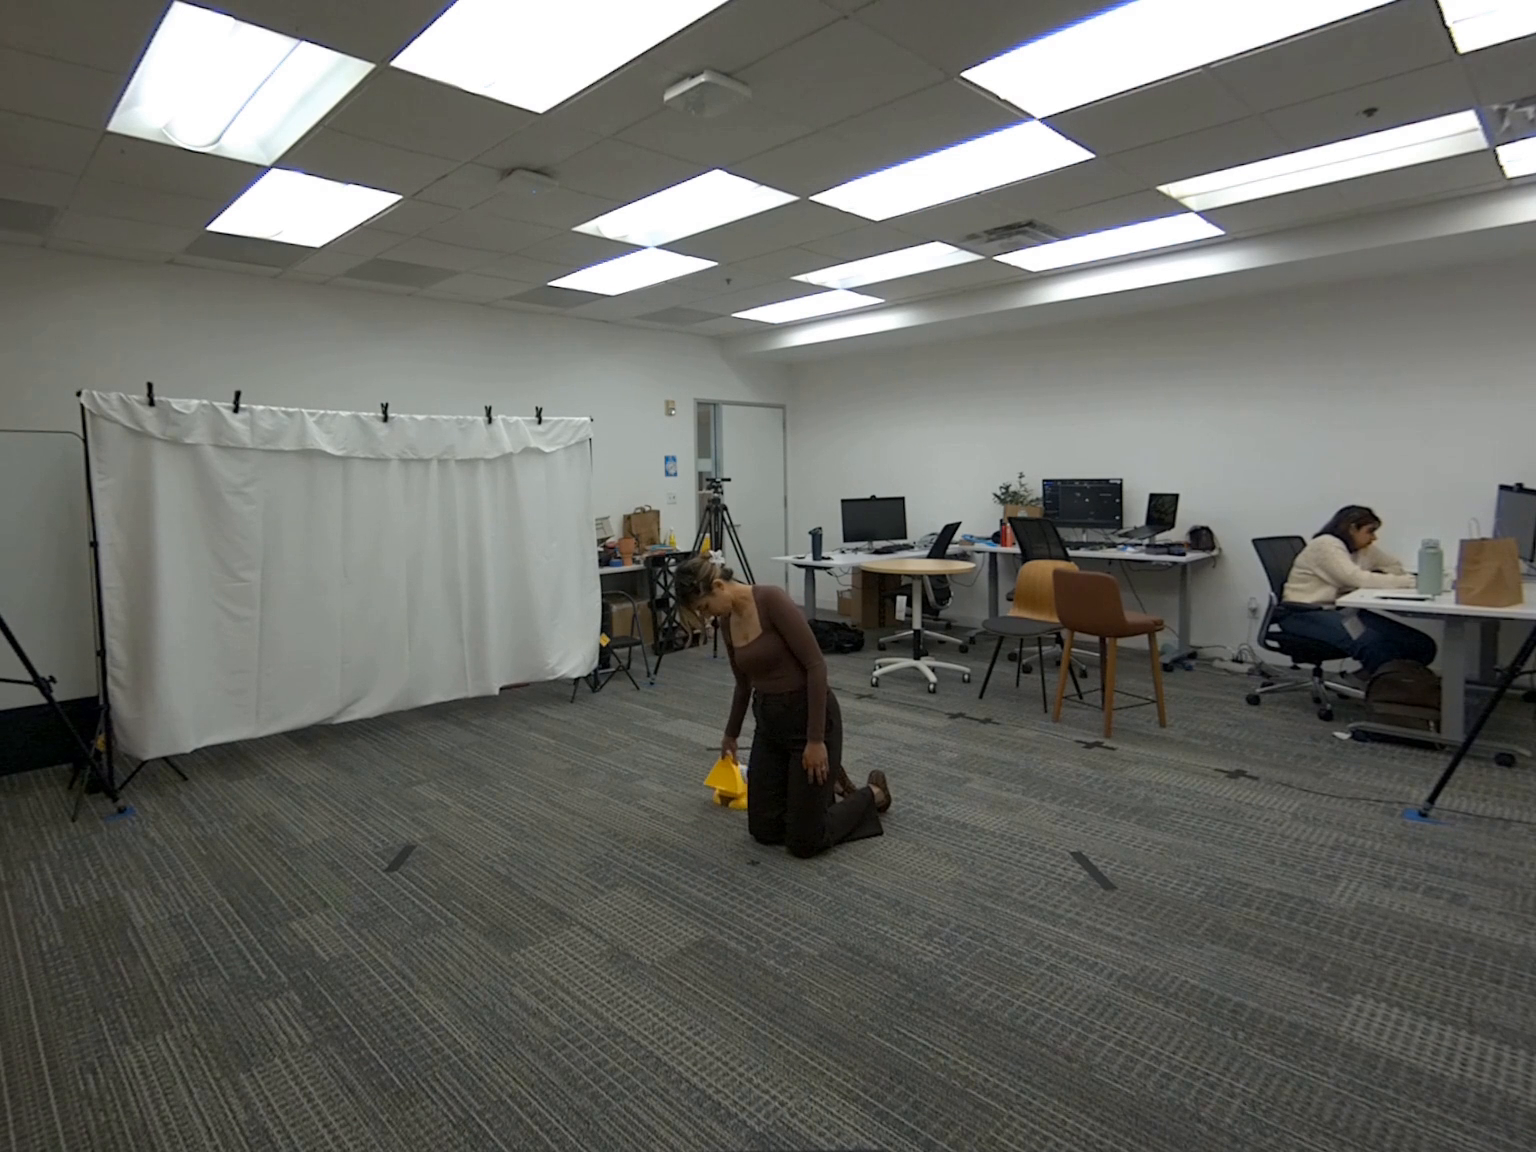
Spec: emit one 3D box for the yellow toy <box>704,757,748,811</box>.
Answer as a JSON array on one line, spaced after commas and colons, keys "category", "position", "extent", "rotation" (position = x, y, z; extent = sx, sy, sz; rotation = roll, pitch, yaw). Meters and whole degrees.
[{"category": "yellow toy", "position": [-0.145, 0.863, 3.699], "extent": [0.211, 0.230, 0.188], "rotation": [2, 6, 40]}]
